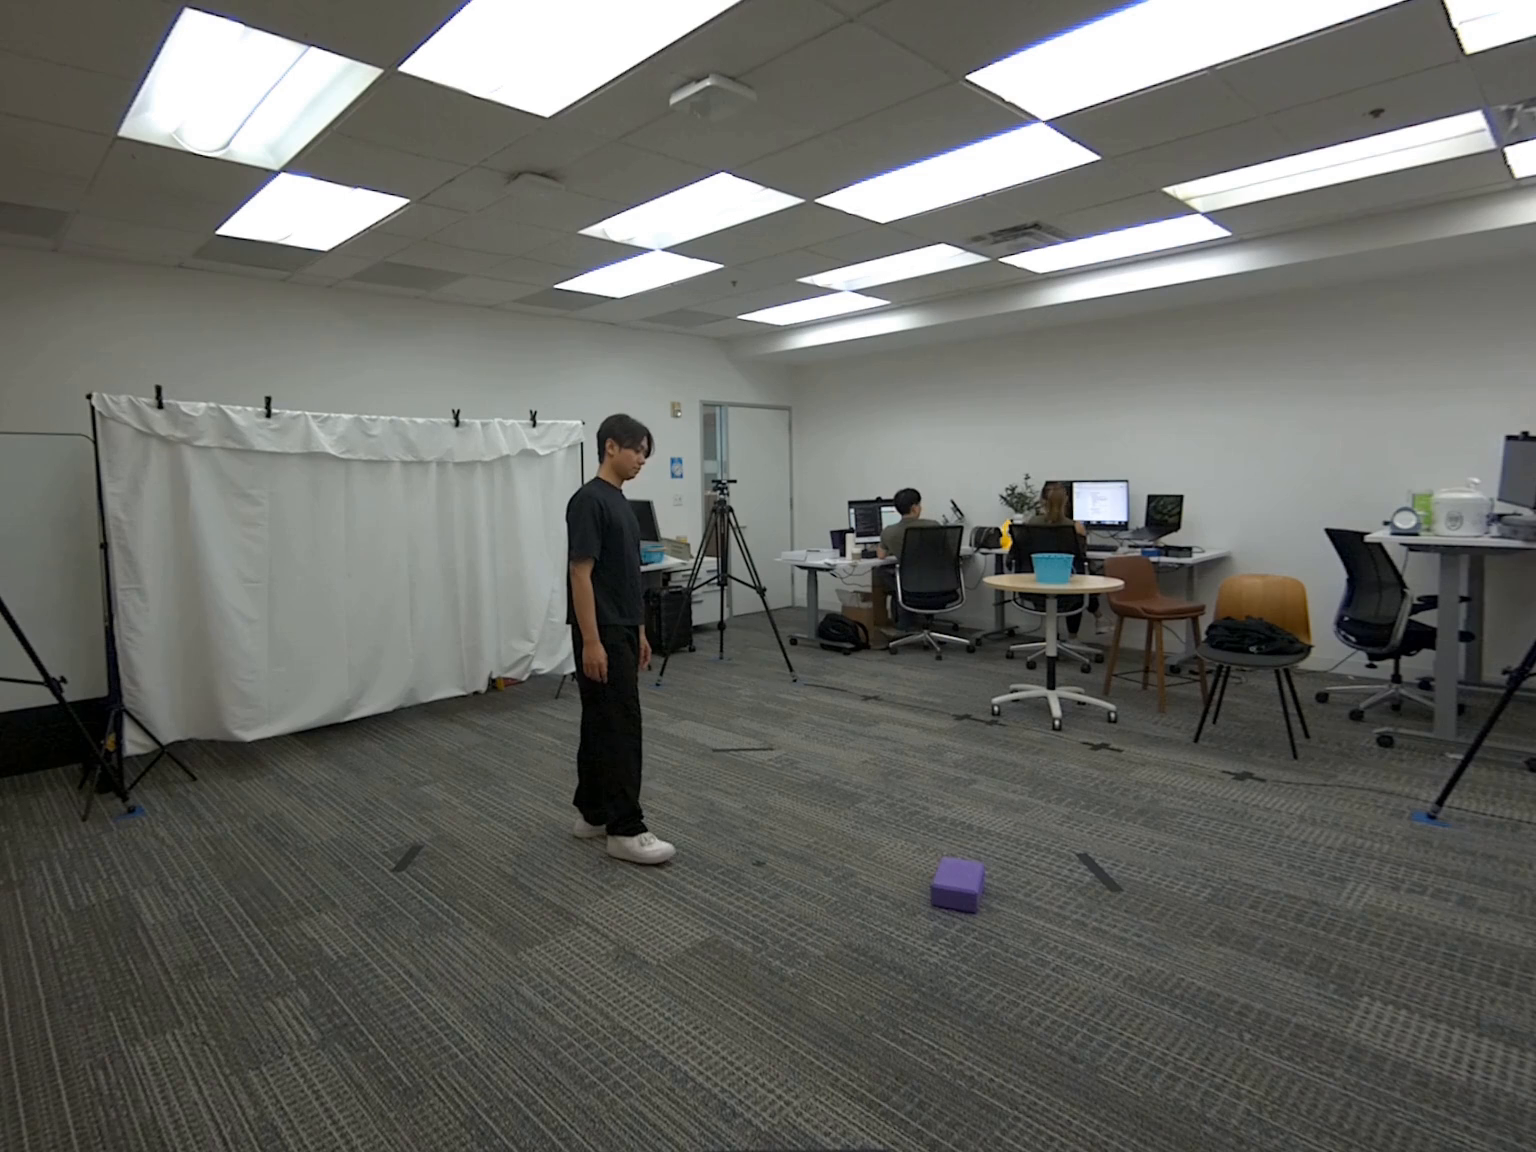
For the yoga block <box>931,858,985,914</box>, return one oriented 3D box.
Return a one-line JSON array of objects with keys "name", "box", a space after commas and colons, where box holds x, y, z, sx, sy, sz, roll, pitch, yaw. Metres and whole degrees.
[{"name": "yoga block", "box": [0.638, 1.025, 2.846, 0.152, 0.076, 0.226, 1, 7, 21]}]
